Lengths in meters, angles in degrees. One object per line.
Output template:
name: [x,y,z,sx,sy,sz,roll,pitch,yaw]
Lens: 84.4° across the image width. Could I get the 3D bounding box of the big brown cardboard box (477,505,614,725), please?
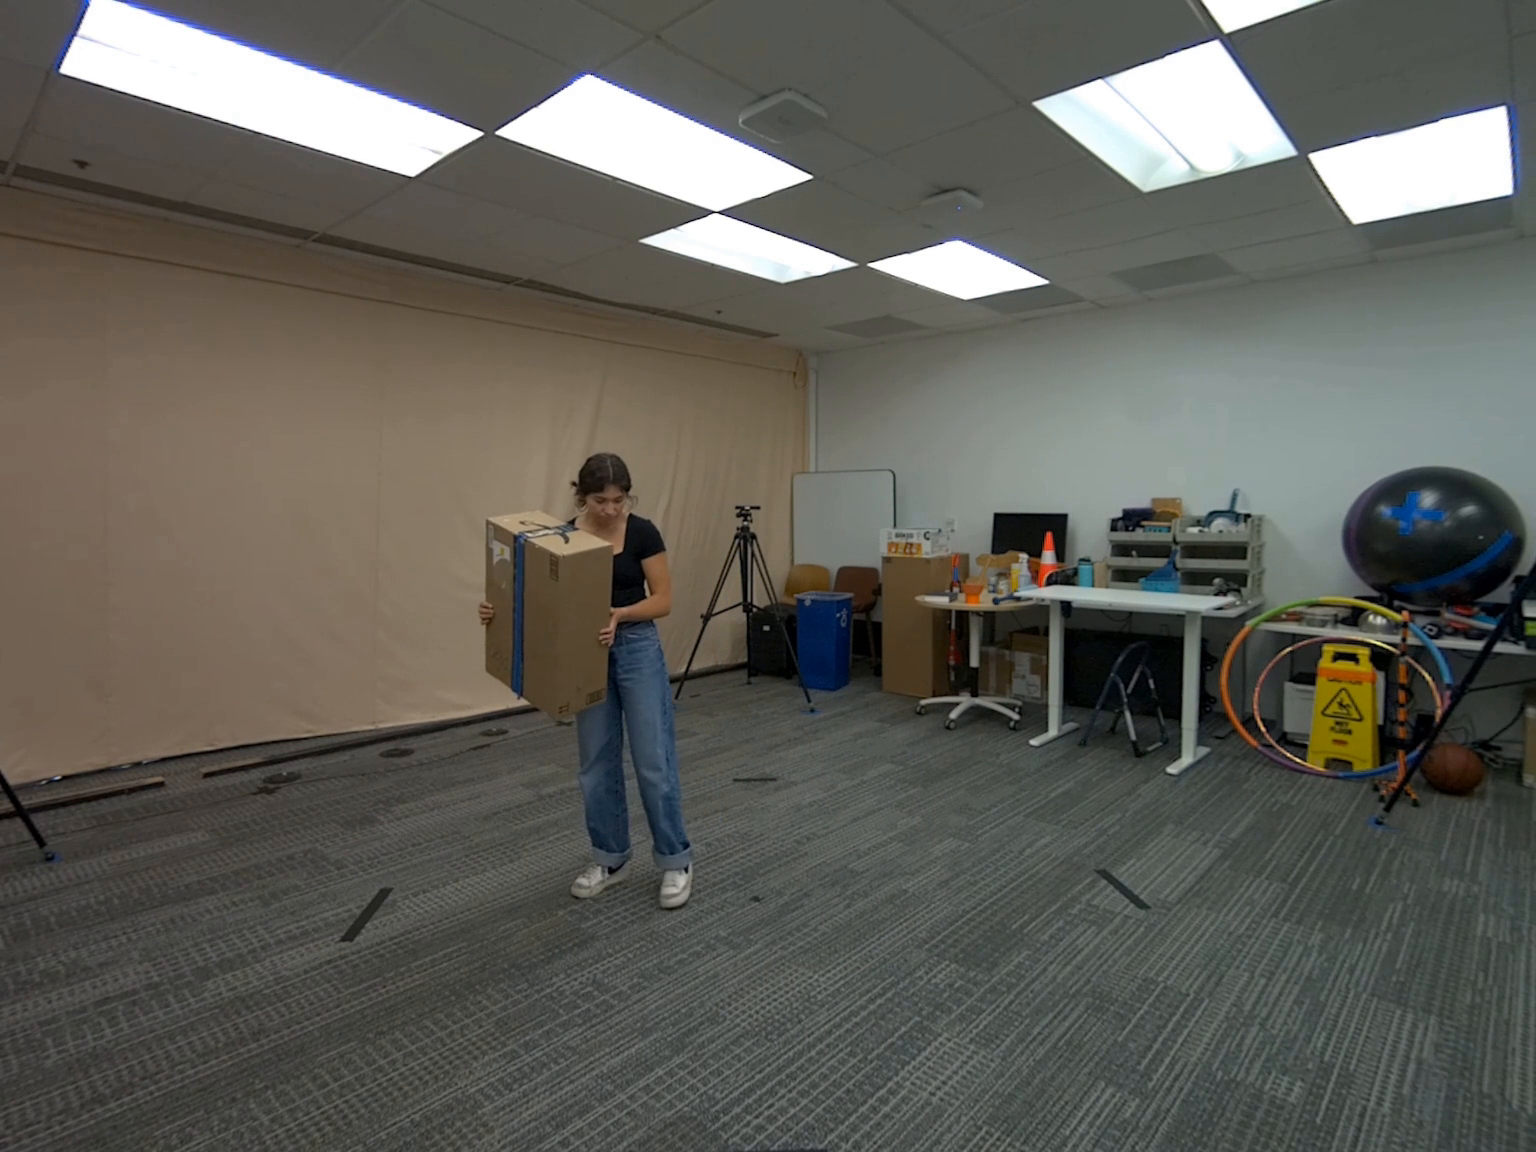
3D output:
big brown cardboard box: [-0.749,0.114,2.825,0.432,0.583,0.227,20,24,37]
